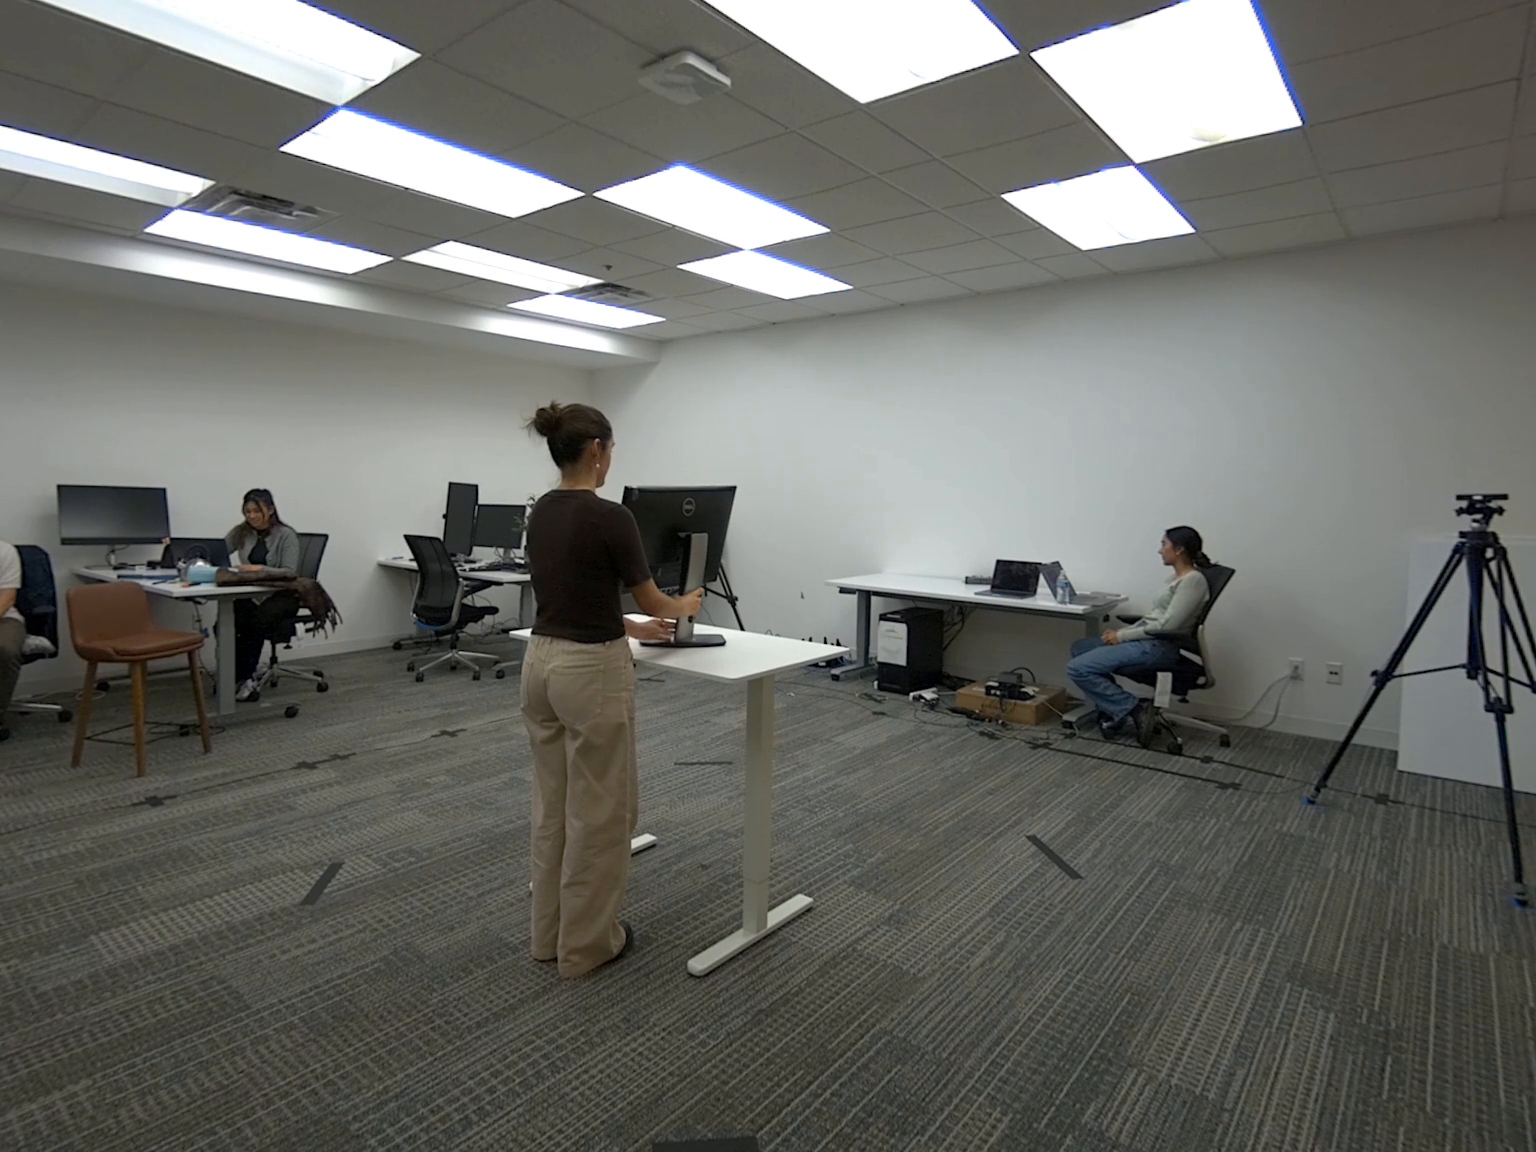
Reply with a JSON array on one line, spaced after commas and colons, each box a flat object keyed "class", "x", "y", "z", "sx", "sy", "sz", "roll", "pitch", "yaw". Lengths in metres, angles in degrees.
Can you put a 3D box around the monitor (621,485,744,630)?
[{"class": "monitor", "x": -0.297, "y": -0.034, "z": 2.743, "sx": 0.193, "sy": 0.520, "sz": 0.526, "roll": 2, "pitch": 6, "yaw": 32}]
